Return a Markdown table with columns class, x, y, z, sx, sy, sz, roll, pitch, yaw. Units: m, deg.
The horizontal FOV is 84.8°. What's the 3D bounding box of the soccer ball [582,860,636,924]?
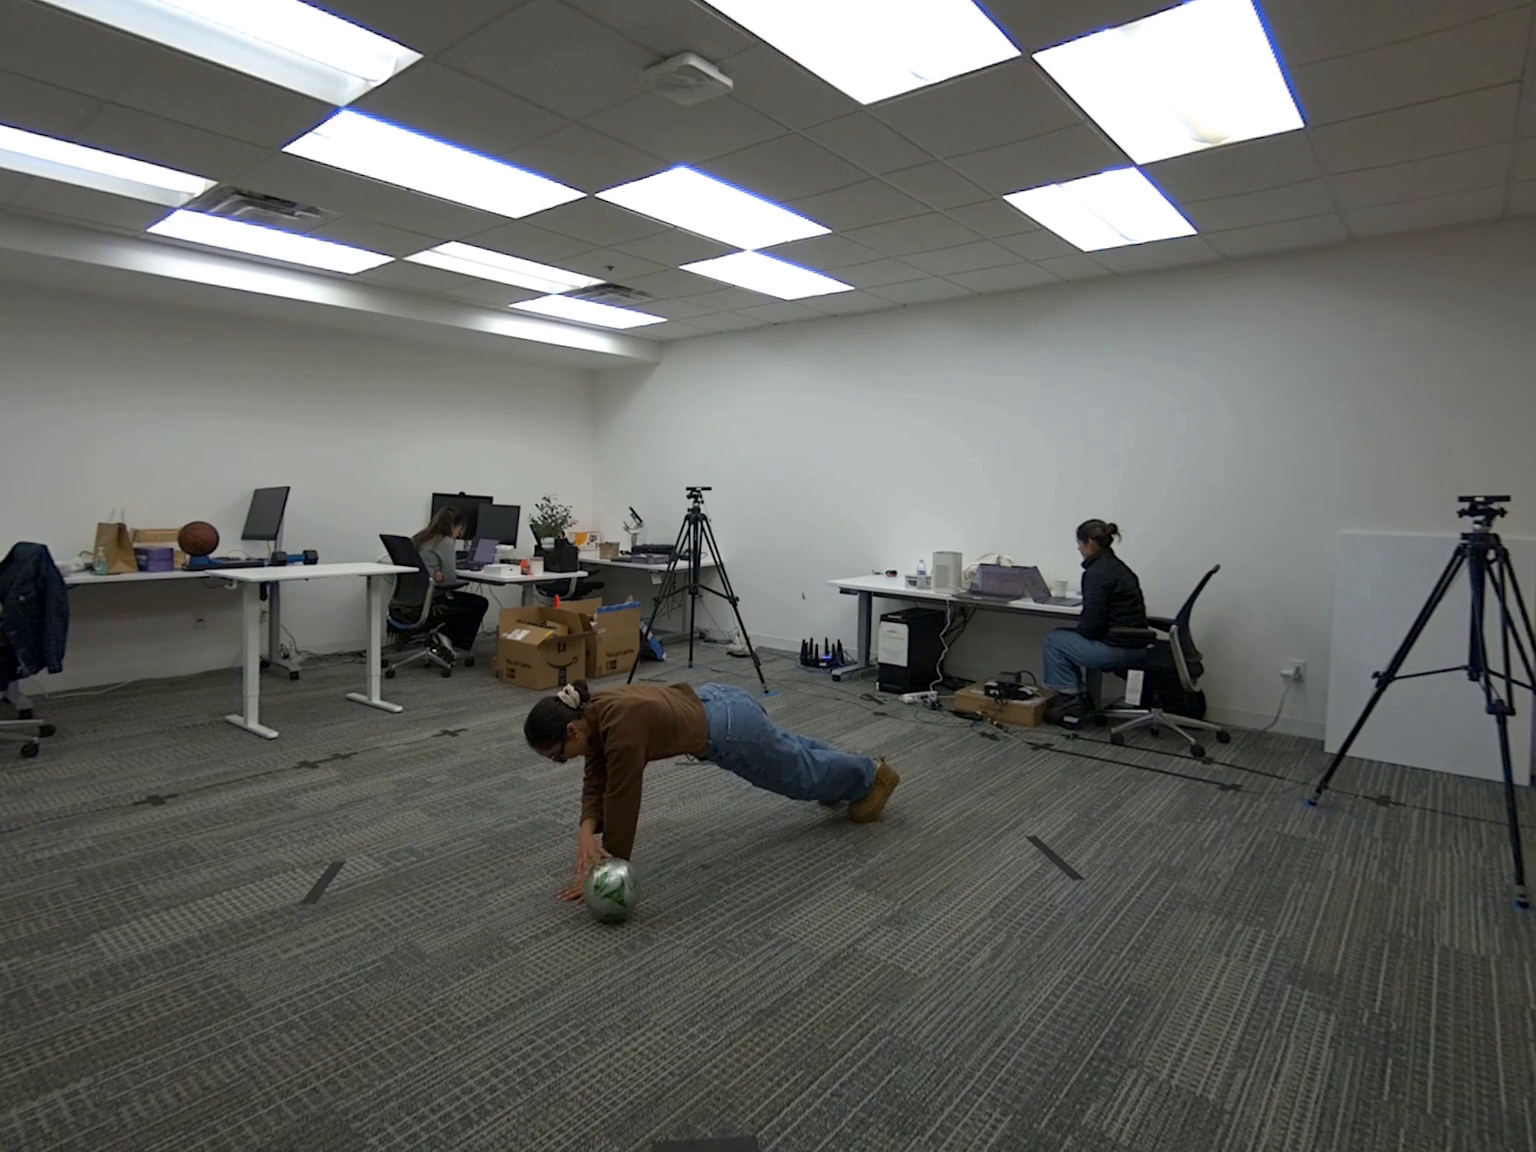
| class | x | y | z | sx | sy | sz | roll | pitch | yaw |
| --- | --- | --- | --- | --- | --- | --- | --- | --- | --- |
| soccer ball | -0.514 | 1.003 | 2.739 | 0.187 | 0.187 | 0.188 | 1 | 4 | -2 |
